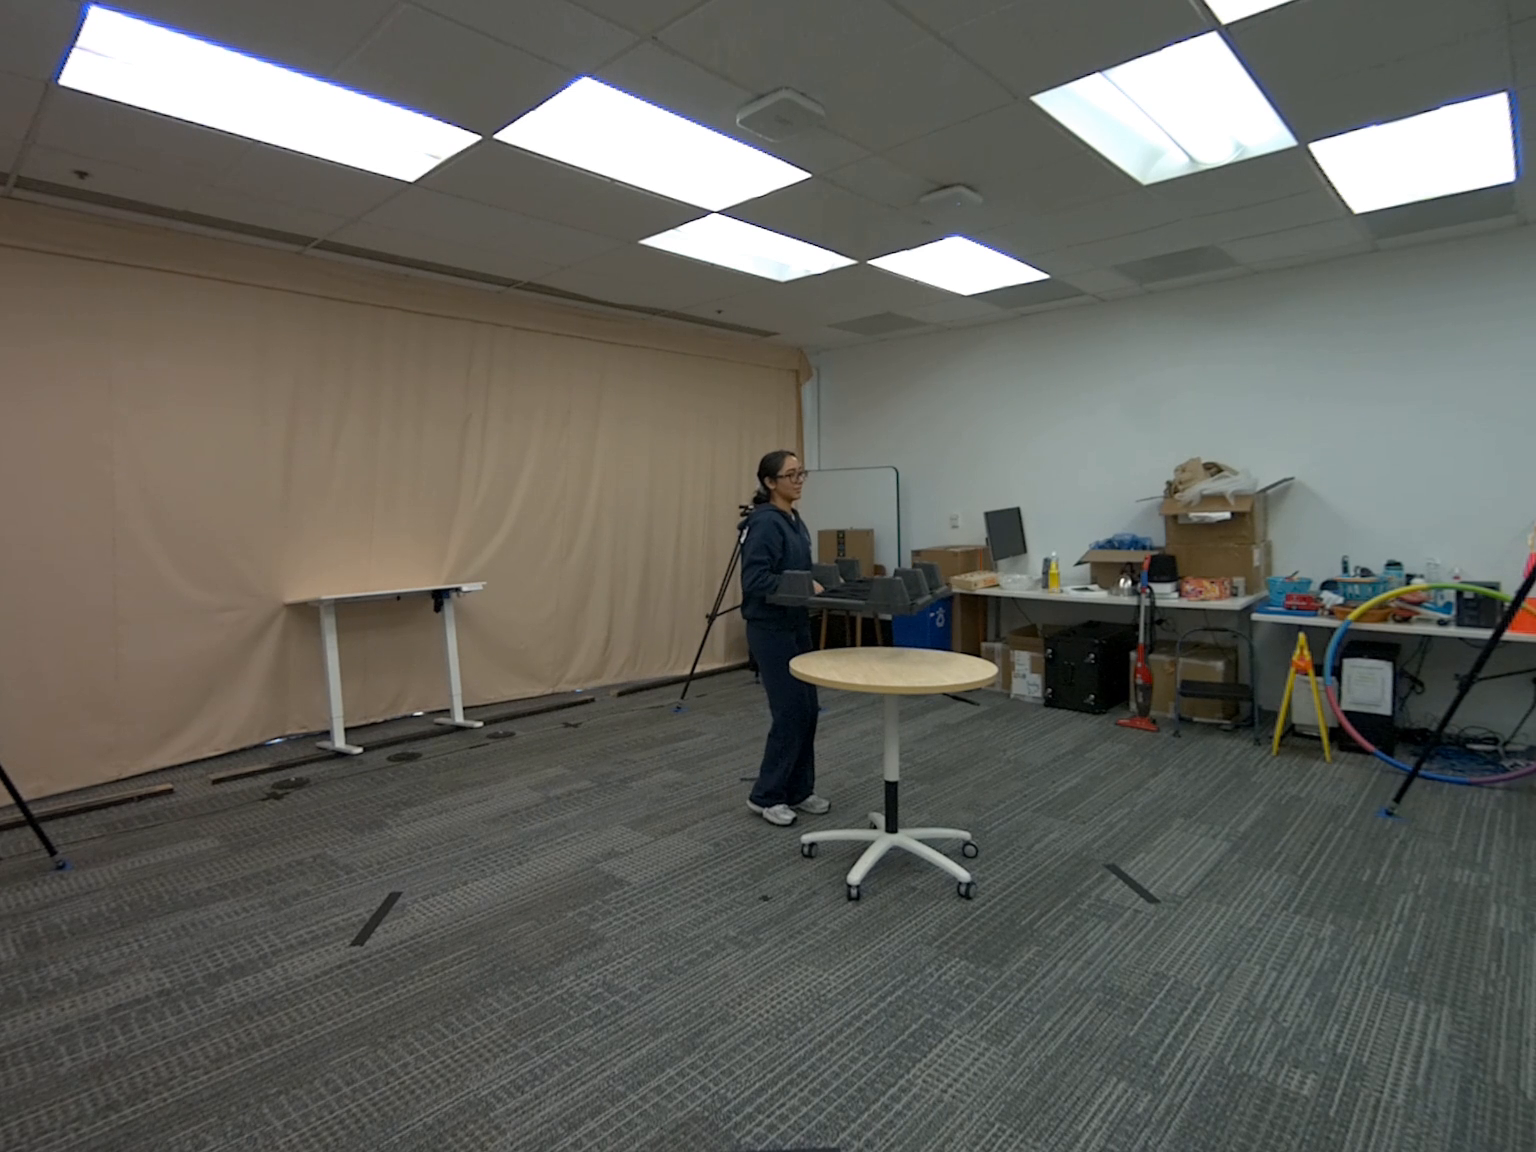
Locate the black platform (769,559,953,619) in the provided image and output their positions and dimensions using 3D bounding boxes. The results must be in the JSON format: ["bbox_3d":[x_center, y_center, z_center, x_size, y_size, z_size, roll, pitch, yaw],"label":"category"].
[{"bbox_3d":[0.421,0.031,3.608,0.621,0.143,0.788,4,7,24],"label":"black platform"}]
